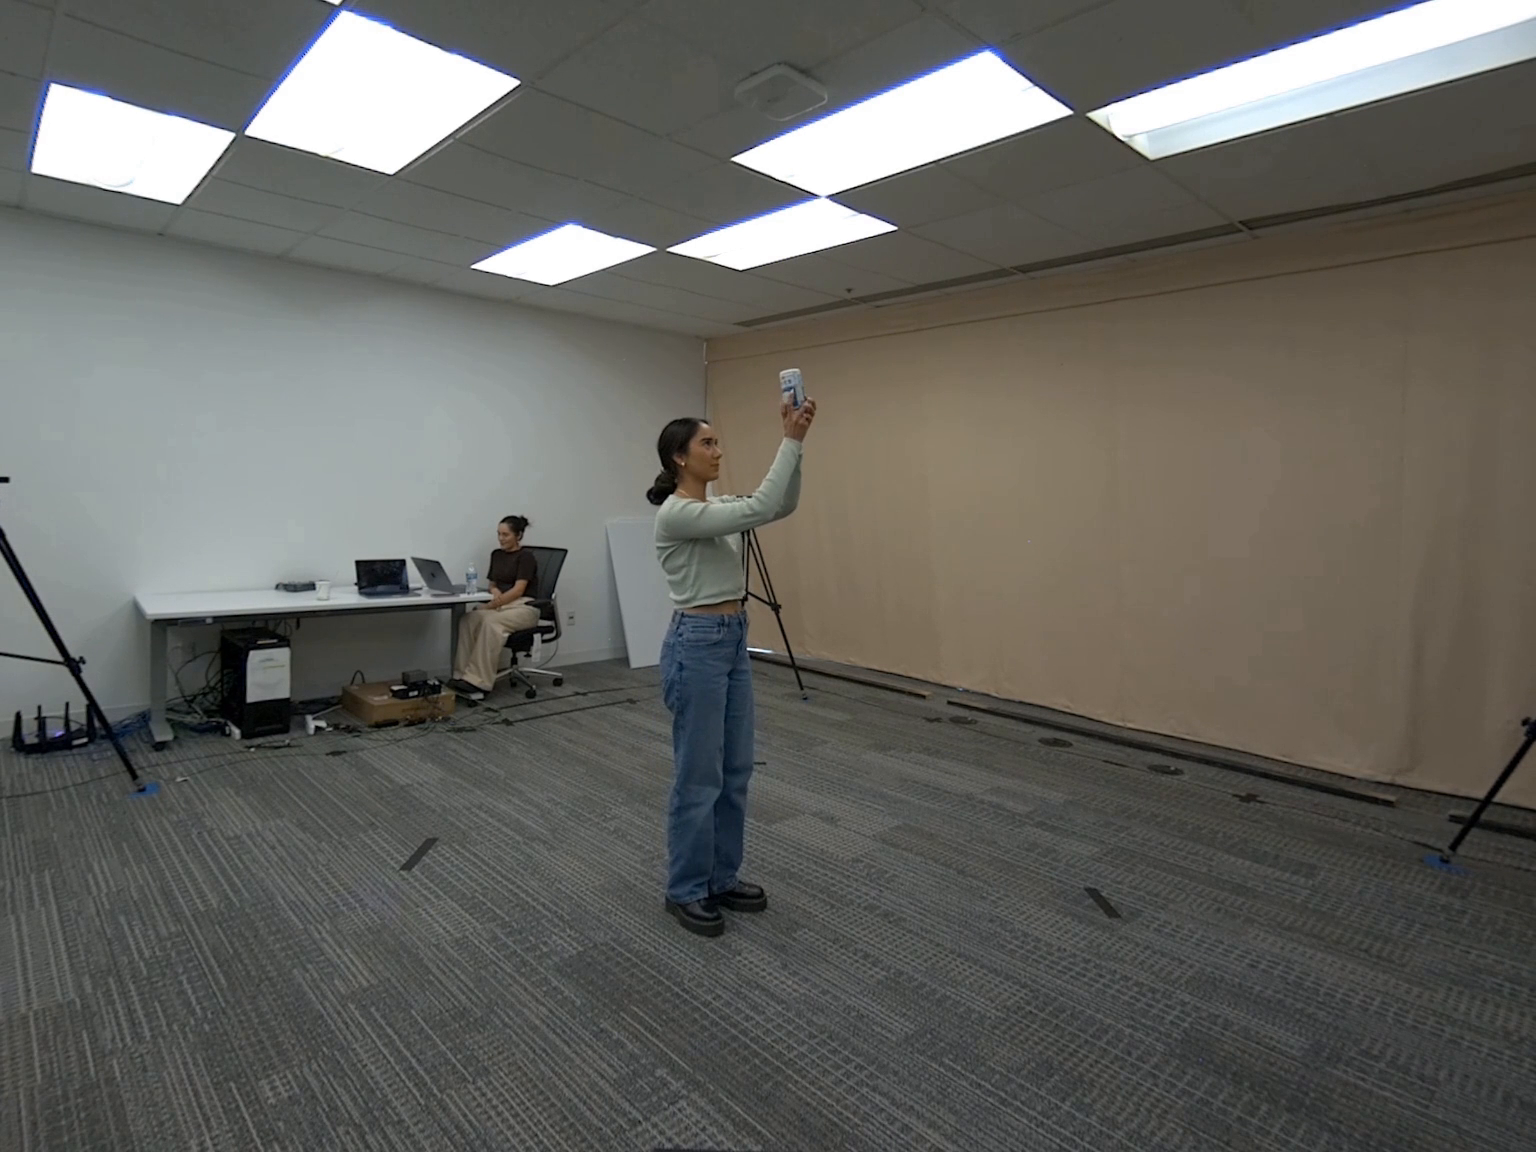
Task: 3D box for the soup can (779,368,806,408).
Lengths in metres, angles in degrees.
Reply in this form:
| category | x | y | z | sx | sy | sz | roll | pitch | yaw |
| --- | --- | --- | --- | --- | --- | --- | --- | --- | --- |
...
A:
| category | x | y | z | sx | sy | sz | roll | pitch | yaw |
| --- | --- | --- | --- | --- | --- | --- | --- | --- | --- |
| soup can | 0.074 | -0.572 | 2.611 | 0.067 | 0.121 | 0.067 | -9 | 5 | 0 |
